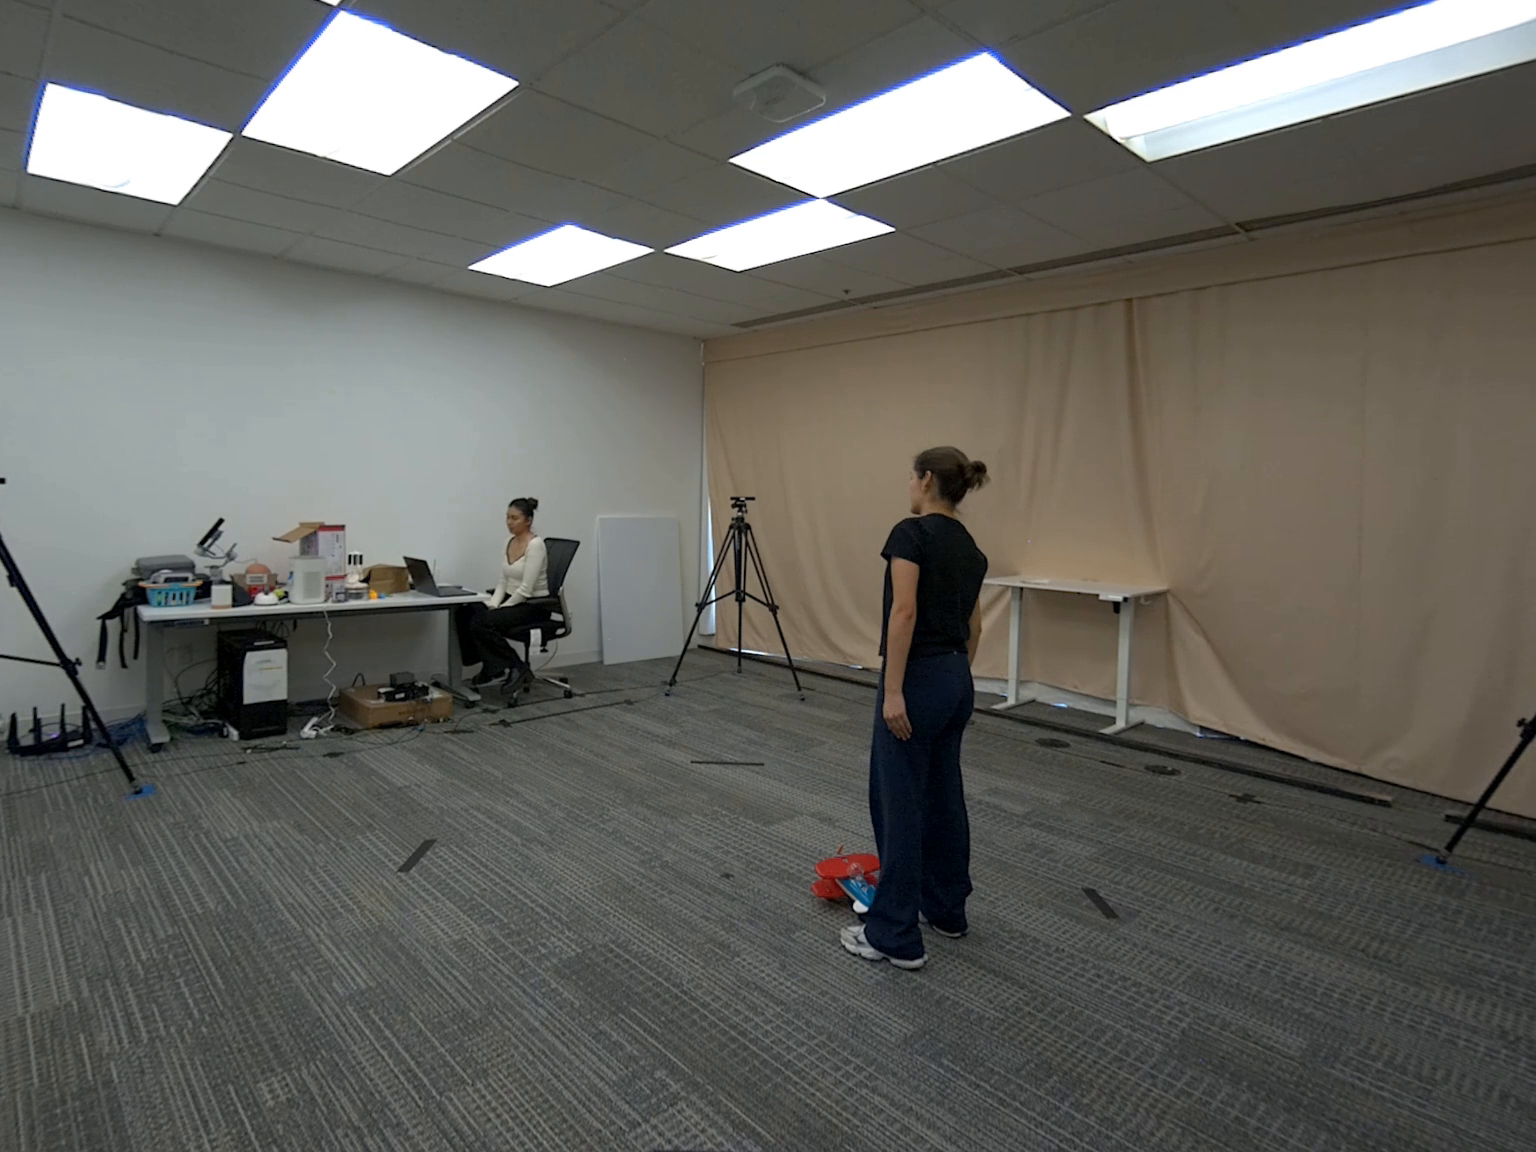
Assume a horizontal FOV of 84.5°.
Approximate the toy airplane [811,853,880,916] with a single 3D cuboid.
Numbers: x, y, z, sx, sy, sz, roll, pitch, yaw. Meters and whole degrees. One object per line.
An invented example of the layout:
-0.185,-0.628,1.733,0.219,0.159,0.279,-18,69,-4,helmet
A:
0.301,1.067,2.870,0.265,0.156,0.246,3,5,37,toy airplane
